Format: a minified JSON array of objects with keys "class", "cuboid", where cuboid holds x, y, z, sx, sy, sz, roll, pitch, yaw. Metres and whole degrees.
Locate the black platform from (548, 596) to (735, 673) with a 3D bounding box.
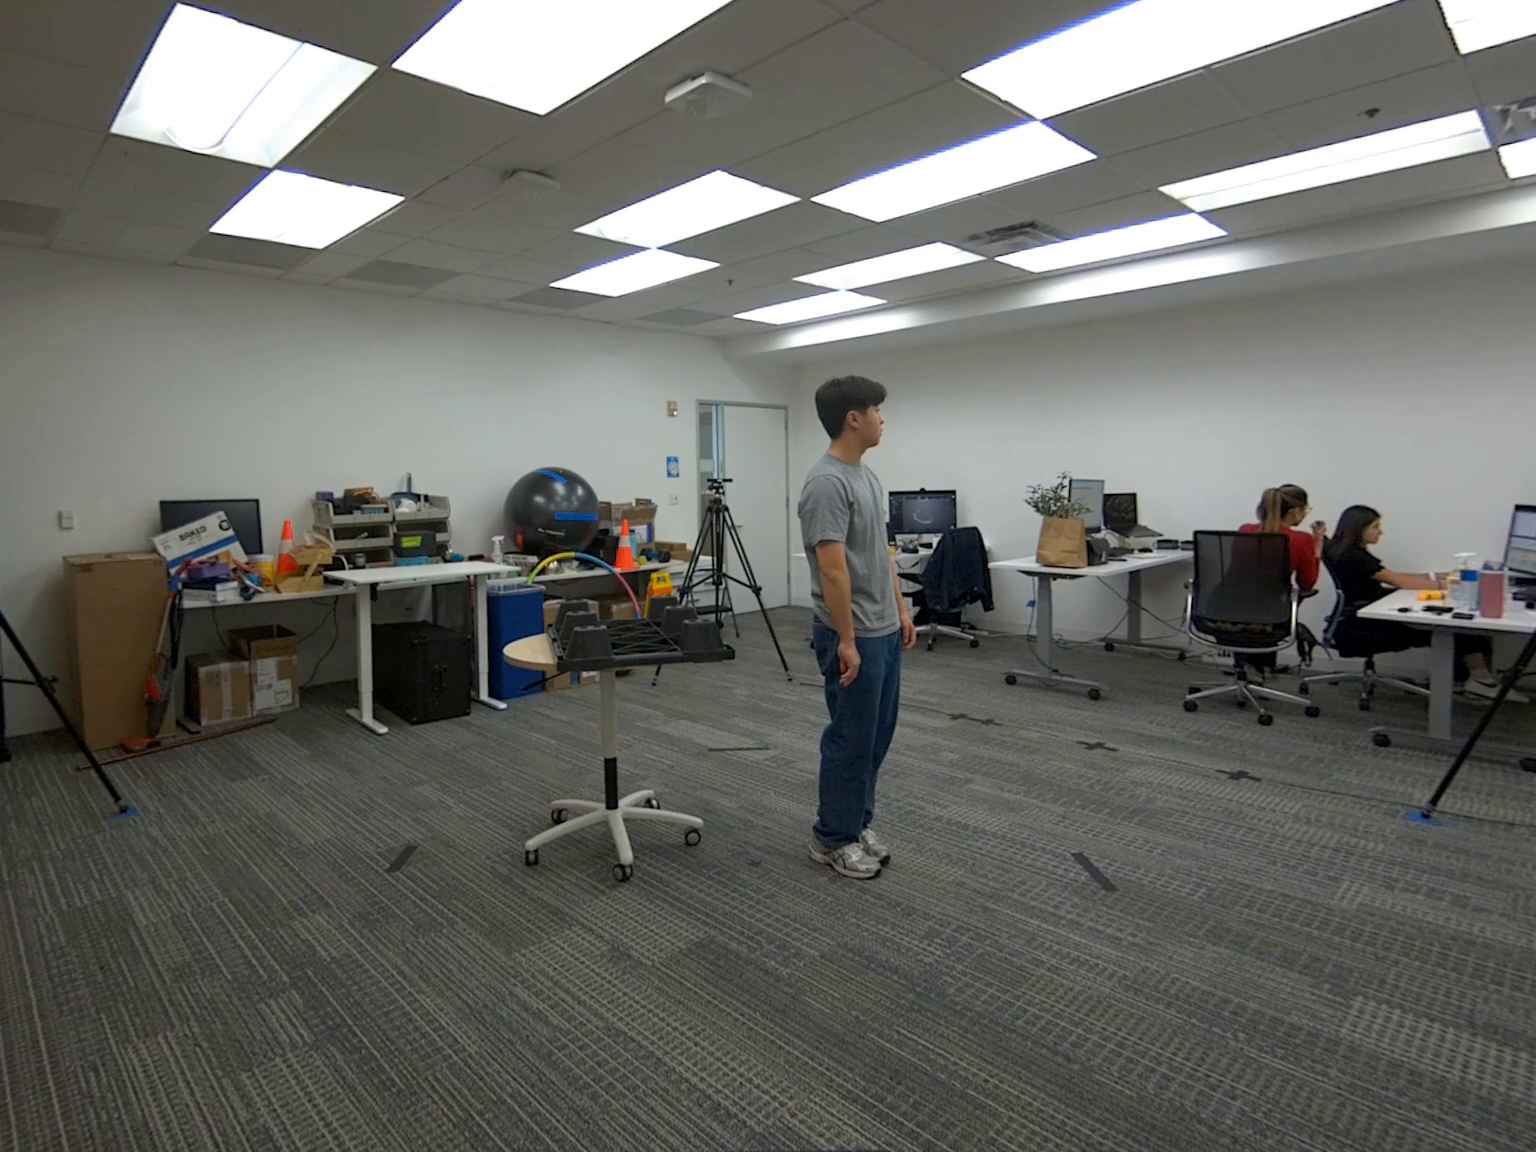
[{"class":"black platform","cuboid":[-0.499,0.194,3.196,0.597,0.142,0.821,-4,7,-16]}]
